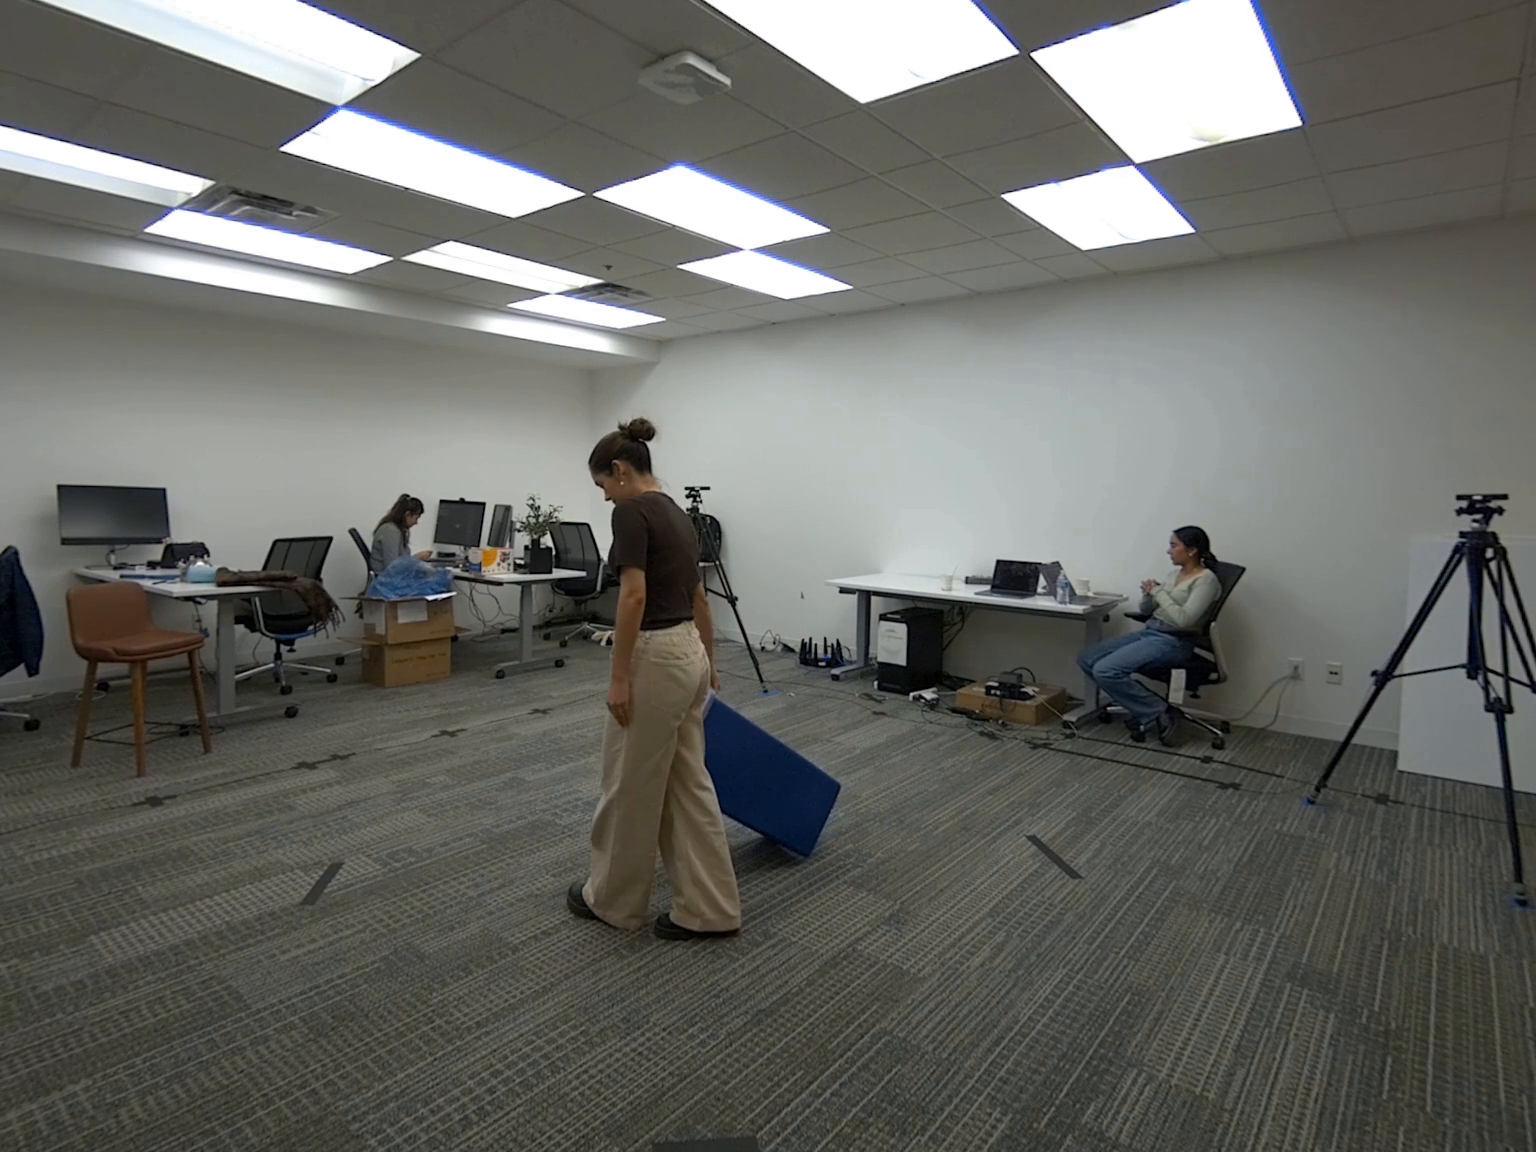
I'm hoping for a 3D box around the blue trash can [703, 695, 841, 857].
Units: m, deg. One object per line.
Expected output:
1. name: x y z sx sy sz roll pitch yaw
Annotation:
1. blue trash can: -0.126 0.733 3.179 0.692 0.376 0.388 38 -18 -24
